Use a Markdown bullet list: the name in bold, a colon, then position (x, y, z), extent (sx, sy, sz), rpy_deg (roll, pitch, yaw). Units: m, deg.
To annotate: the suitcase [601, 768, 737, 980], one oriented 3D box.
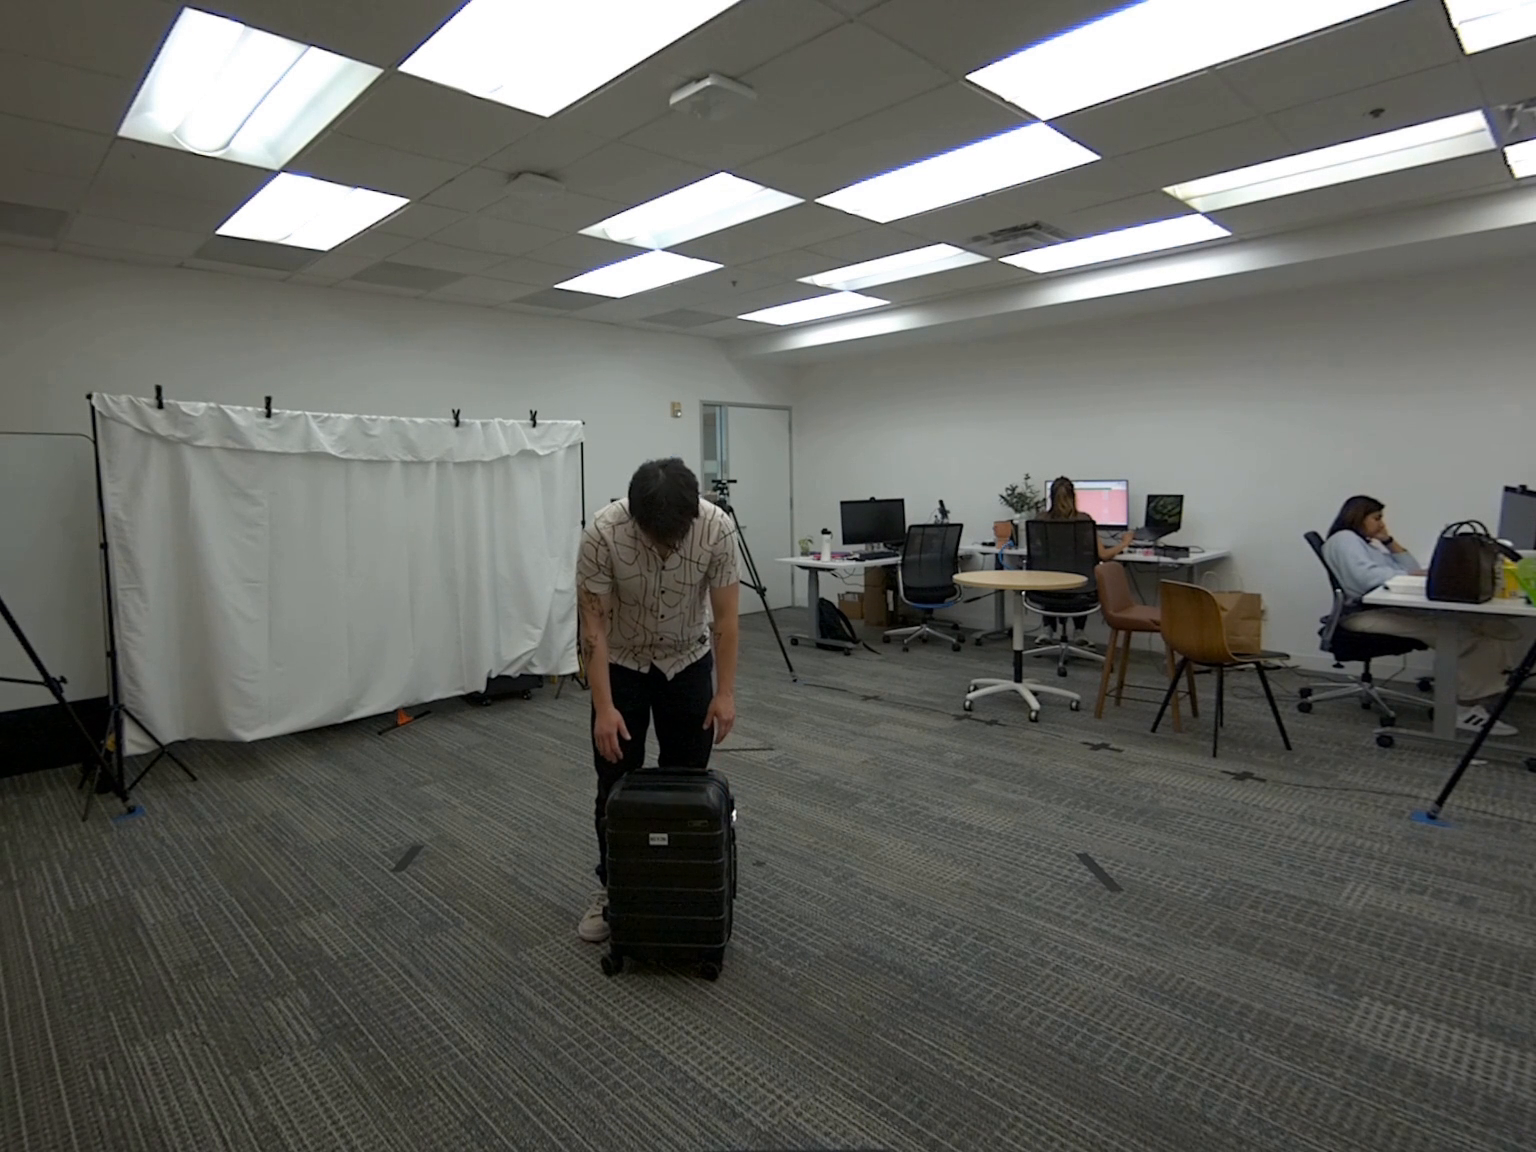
- **suitcase**: position (-0.279, 0.852, 2.494), extent (0.377, 0.546, 0.248), rpy_deg (0, 6, 5)
